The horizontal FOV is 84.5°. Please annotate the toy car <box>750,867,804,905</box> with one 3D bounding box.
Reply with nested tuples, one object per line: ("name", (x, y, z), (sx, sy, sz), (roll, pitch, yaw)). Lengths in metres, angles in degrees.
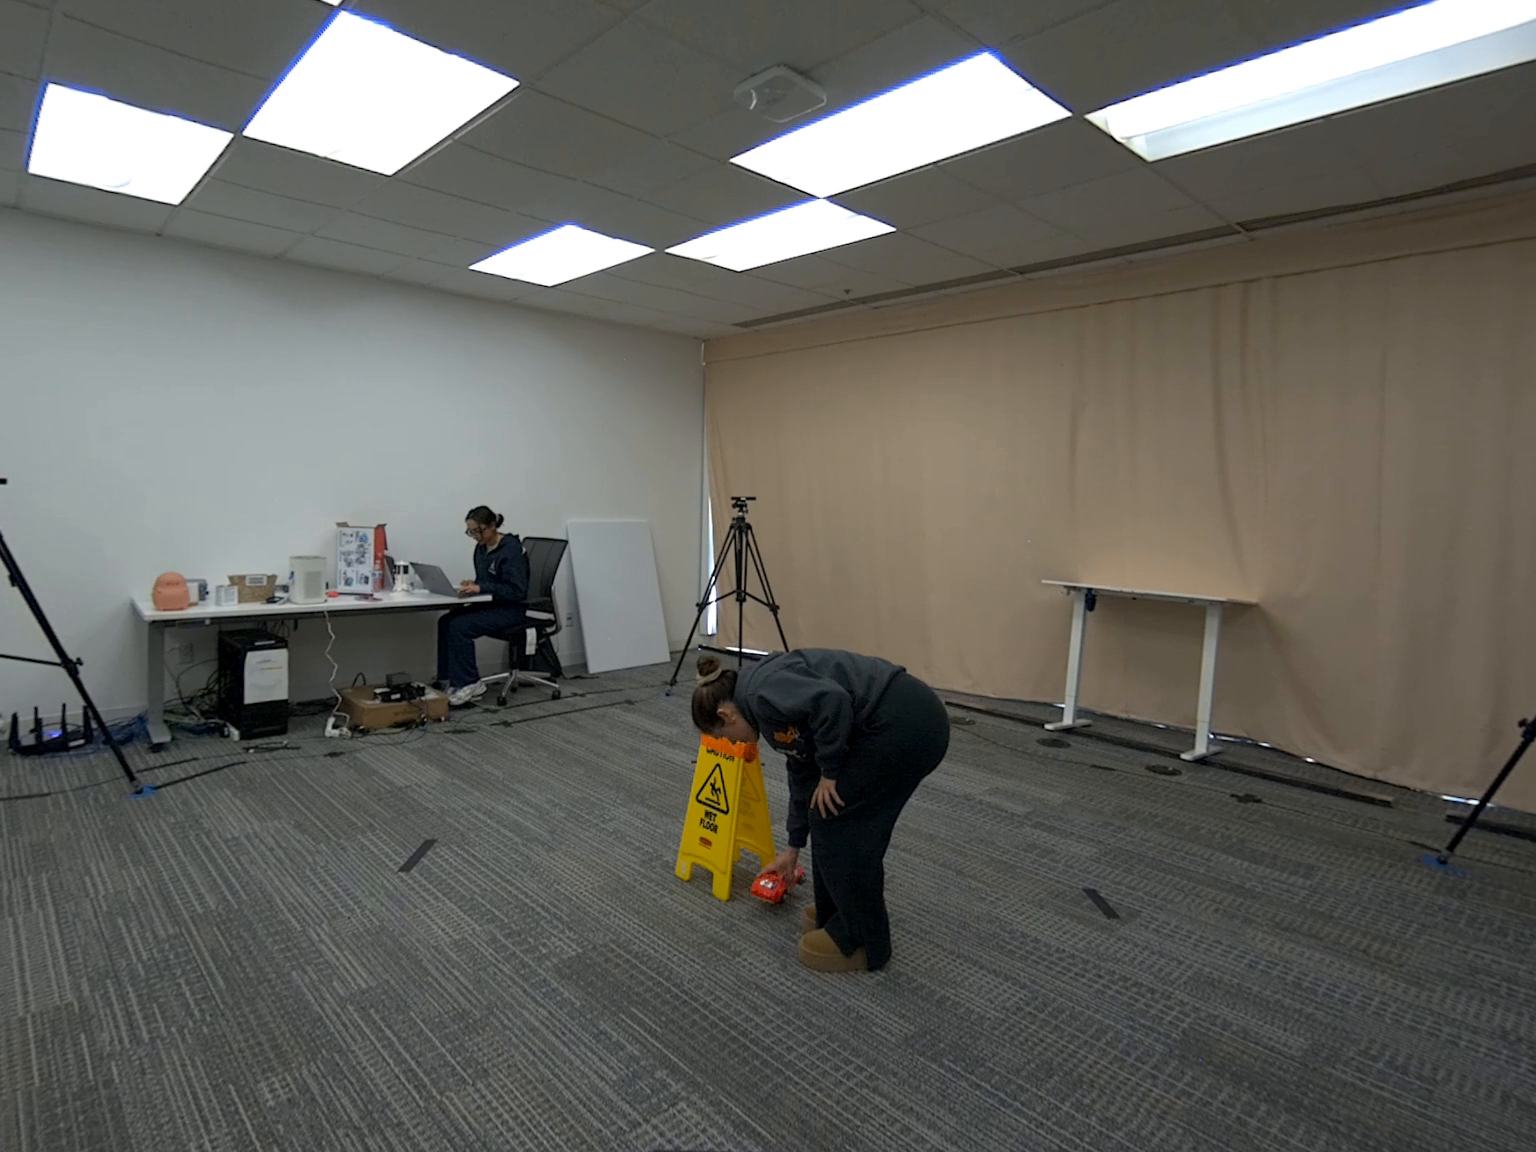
("toy car", (0.021, 1.069, 2.906), (0.133, 0.083, 0.249), (7, 1, 27))
